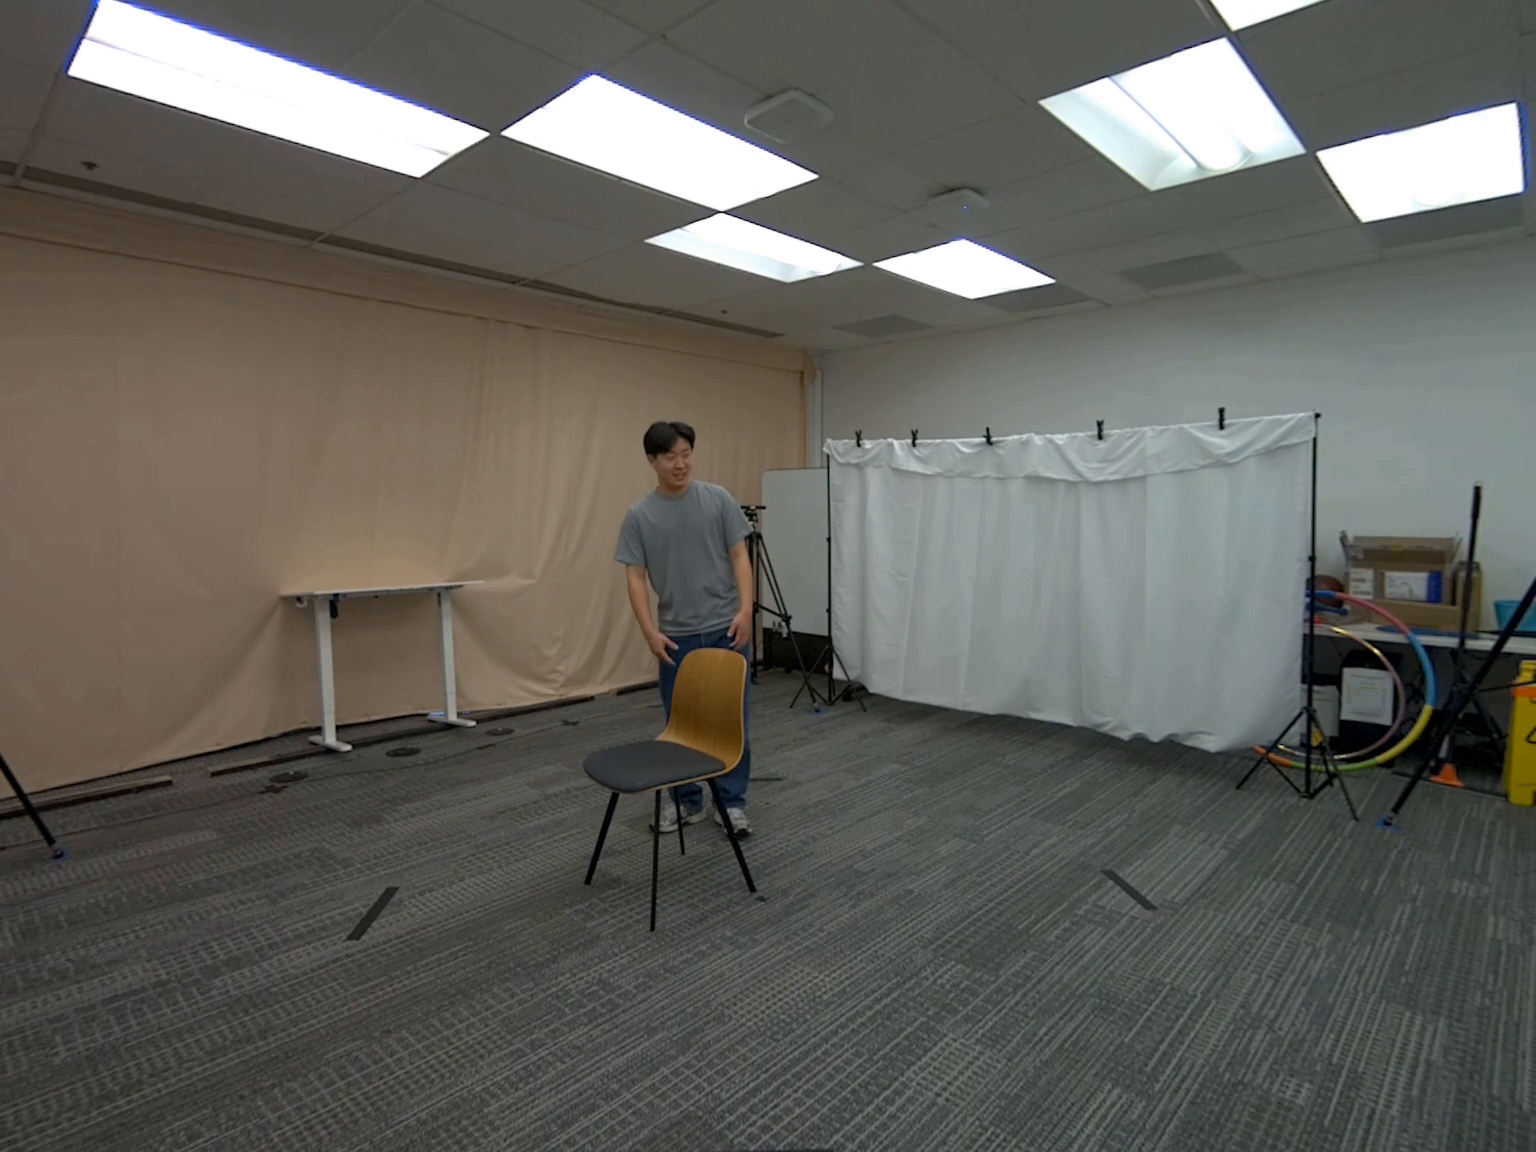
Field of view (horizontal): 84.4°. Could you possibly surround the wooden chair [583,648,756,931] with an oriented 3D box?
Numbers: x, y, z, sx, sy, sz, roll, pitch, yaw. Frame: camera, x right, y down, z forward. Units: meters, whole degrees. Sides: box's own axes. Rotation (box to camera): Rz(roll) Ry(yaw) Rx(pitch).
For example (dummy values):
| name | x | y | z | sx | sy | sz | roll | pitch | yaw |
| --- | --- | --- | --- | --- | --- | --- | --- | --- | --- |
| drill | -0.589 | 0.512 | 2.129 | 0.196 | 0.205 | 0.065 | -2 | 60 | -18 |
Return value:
| name | x | y | z | sx | sy | sz | roll | pitch | yaw |
| --- | --- | --- | --- | --- | --- | --- | --- | --- | --- |
| wooden chair | -0.362 | 0.712 | 3.035 | 0.506 | 0.877 | 0.494 | 3 | 1 | -40 |
